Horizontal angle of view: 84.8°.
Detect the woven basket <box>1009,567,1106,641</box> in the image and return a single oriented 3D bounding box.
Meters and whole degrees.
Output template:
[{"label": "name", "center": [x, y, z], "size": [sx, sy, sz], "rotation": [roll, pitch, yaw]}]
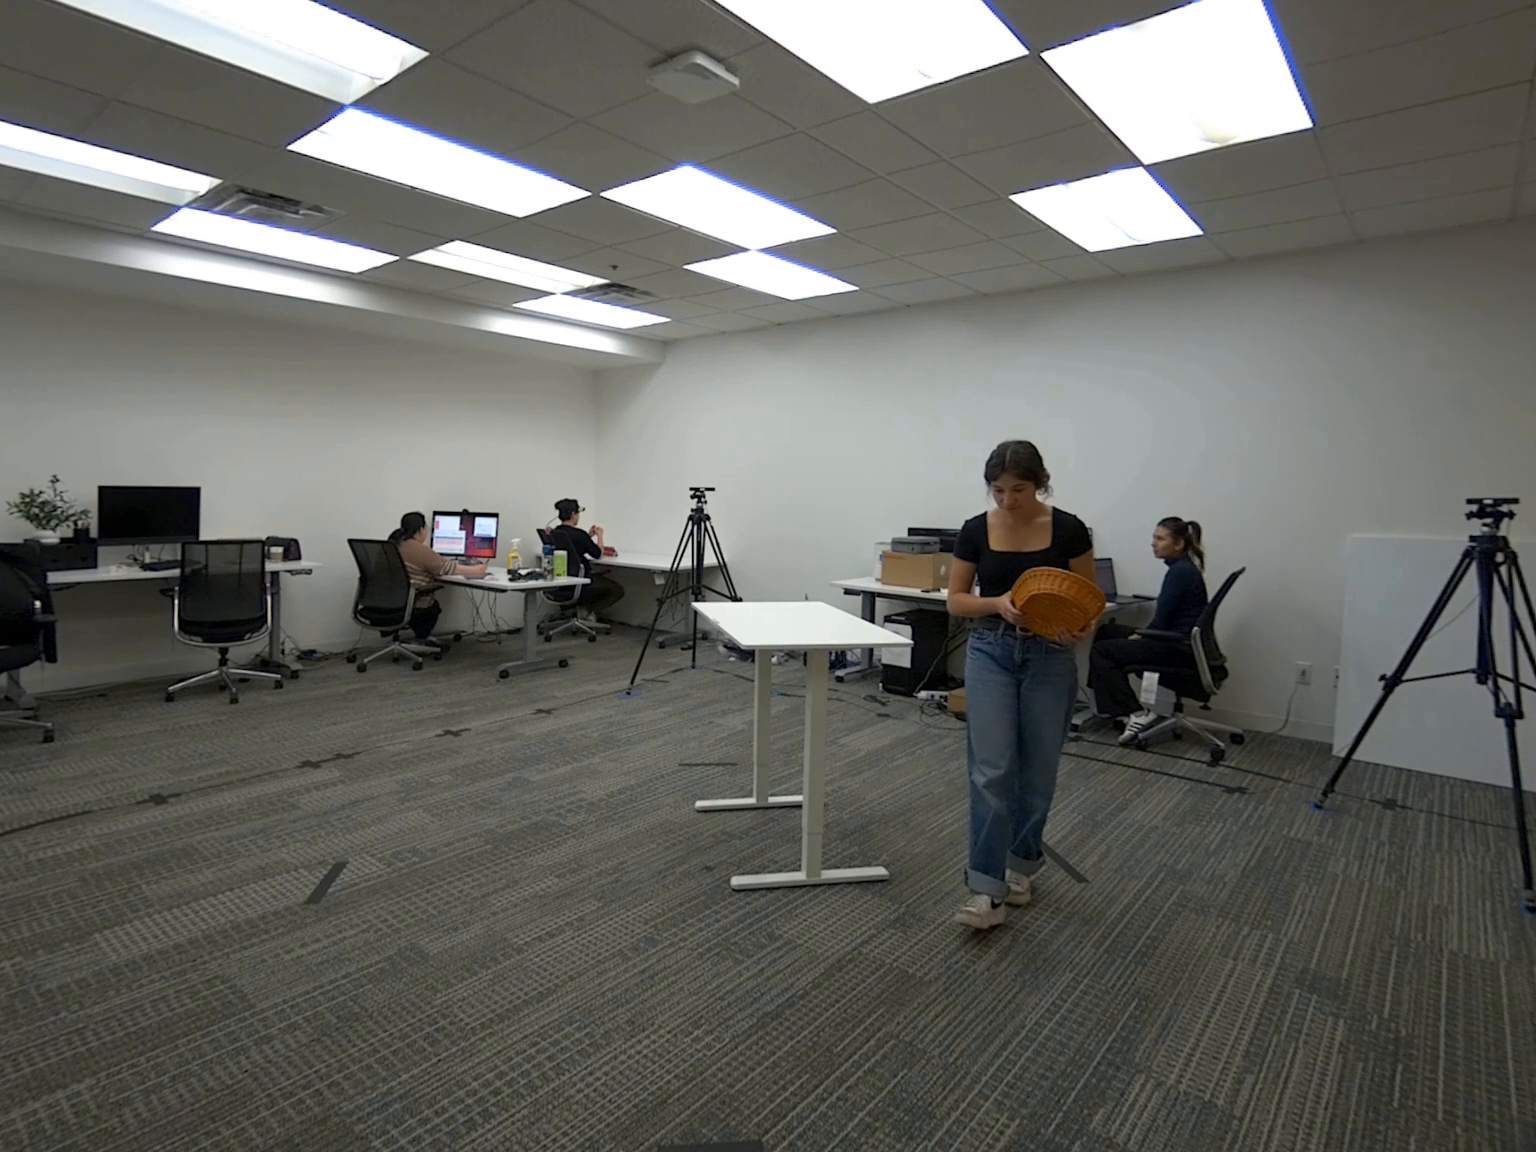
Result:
[{"label": "woven basket", "center": [0.859, 0.093, 2.591], "size": [0.257, 0.074, 0.342], "rotation": [26, -24, 11]}]
